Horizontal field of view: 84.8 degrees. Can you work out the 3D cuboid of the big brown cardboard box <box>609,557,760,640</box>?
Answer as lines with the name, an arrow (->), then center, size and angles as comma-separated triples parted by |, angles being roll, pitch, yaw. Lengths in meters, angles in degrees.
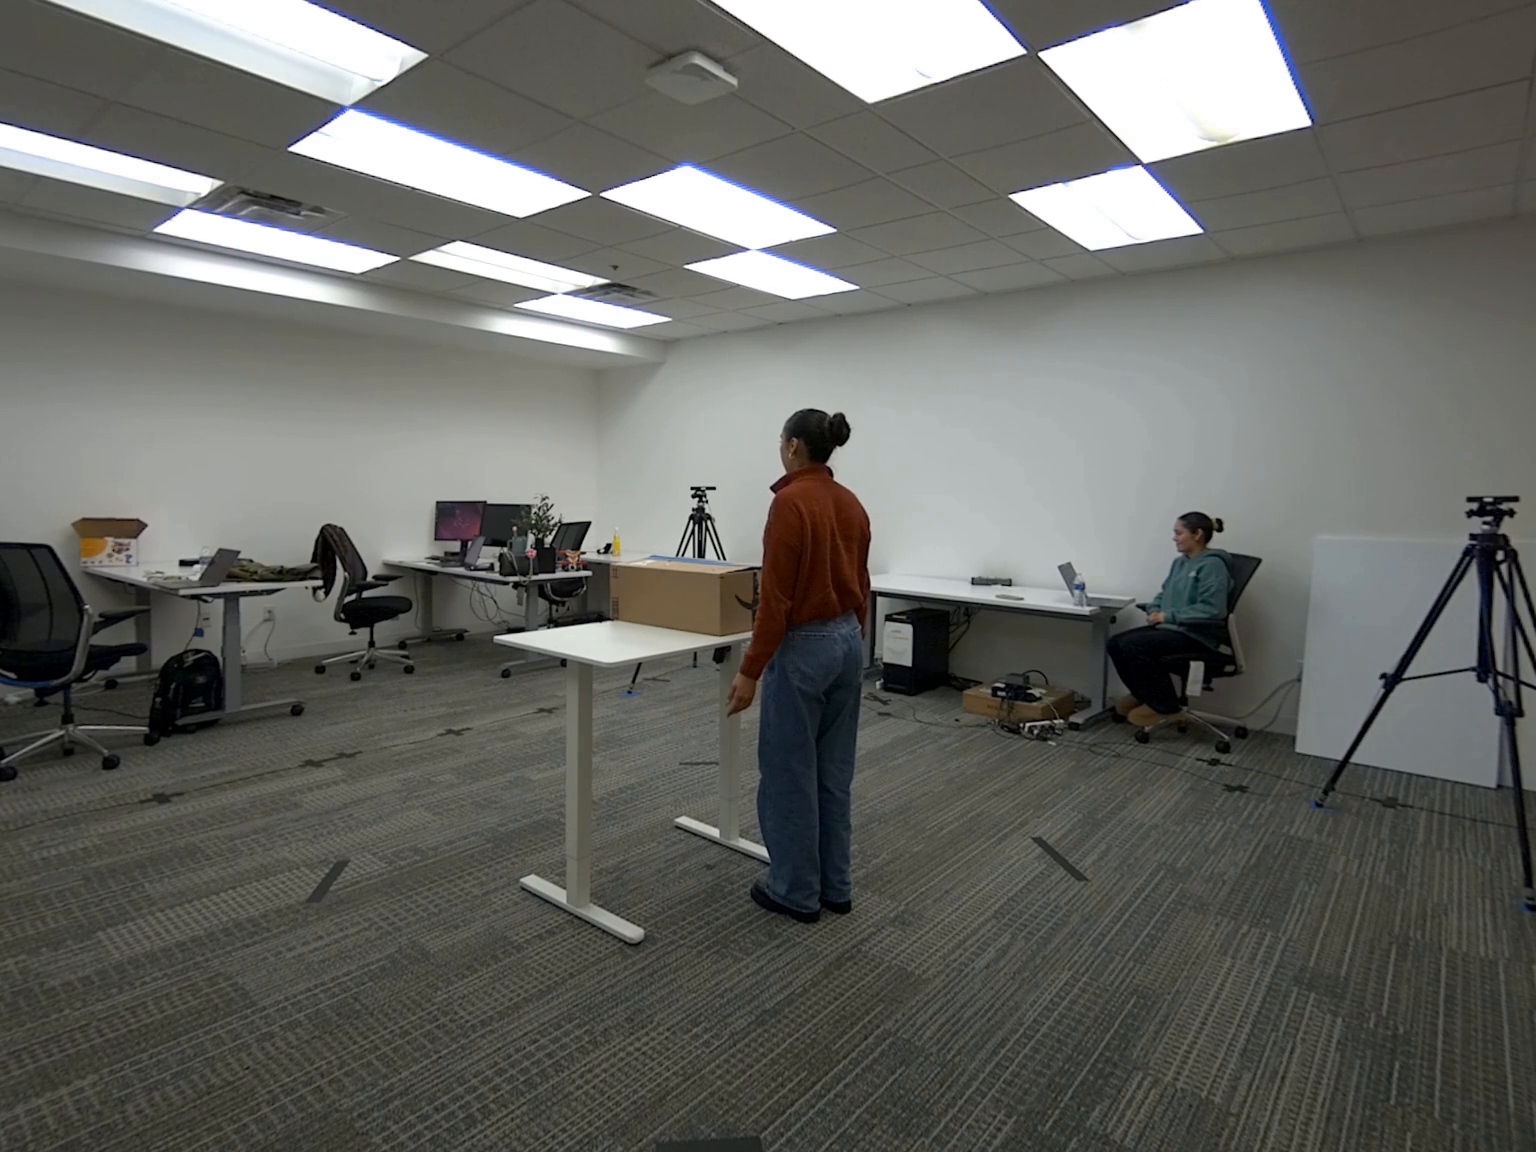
big brown cardboard box -> -0.267, 0.062, 3.221 | 0.609, 0.232, 0.405 | 6, 8, 39
